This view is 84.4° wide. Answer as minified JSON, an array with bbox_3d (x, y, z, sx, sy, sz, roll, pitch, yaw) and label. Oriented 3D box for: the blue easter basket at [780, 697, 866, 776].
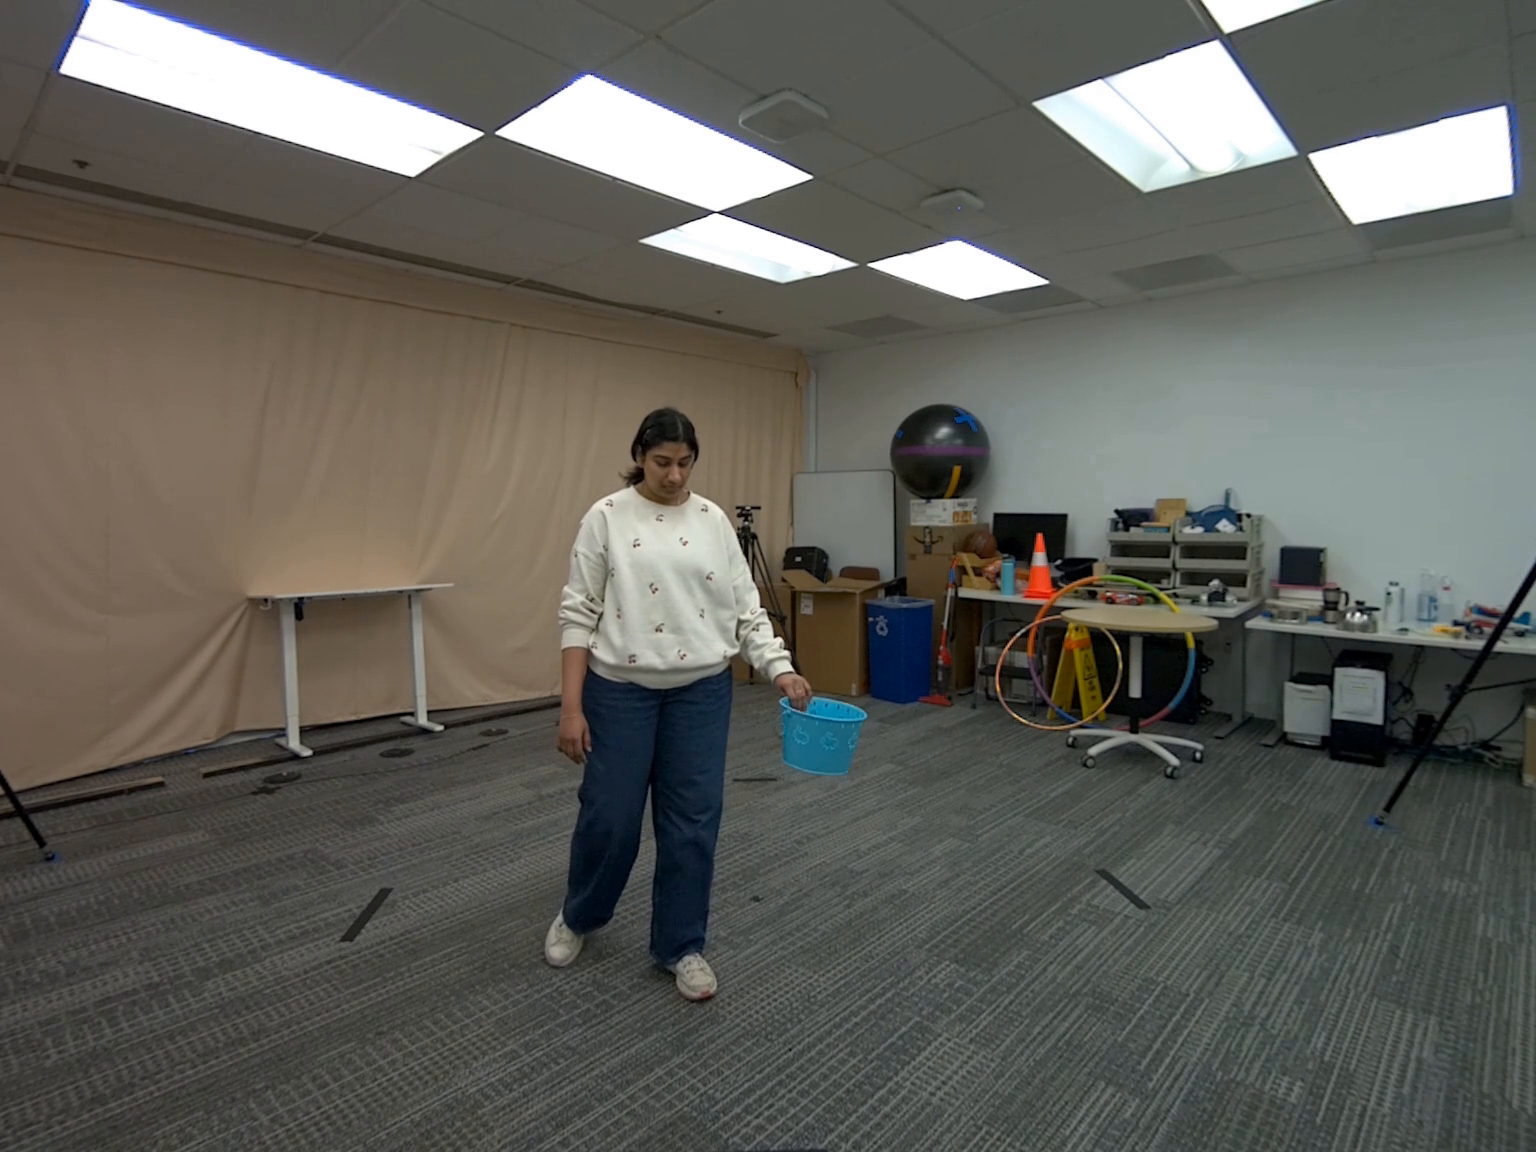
[{"bbox_3d":[0.130,0.444,2.247,0.243,0.155,0.244,8,4,-2],"label":"blue easter basket"}]
